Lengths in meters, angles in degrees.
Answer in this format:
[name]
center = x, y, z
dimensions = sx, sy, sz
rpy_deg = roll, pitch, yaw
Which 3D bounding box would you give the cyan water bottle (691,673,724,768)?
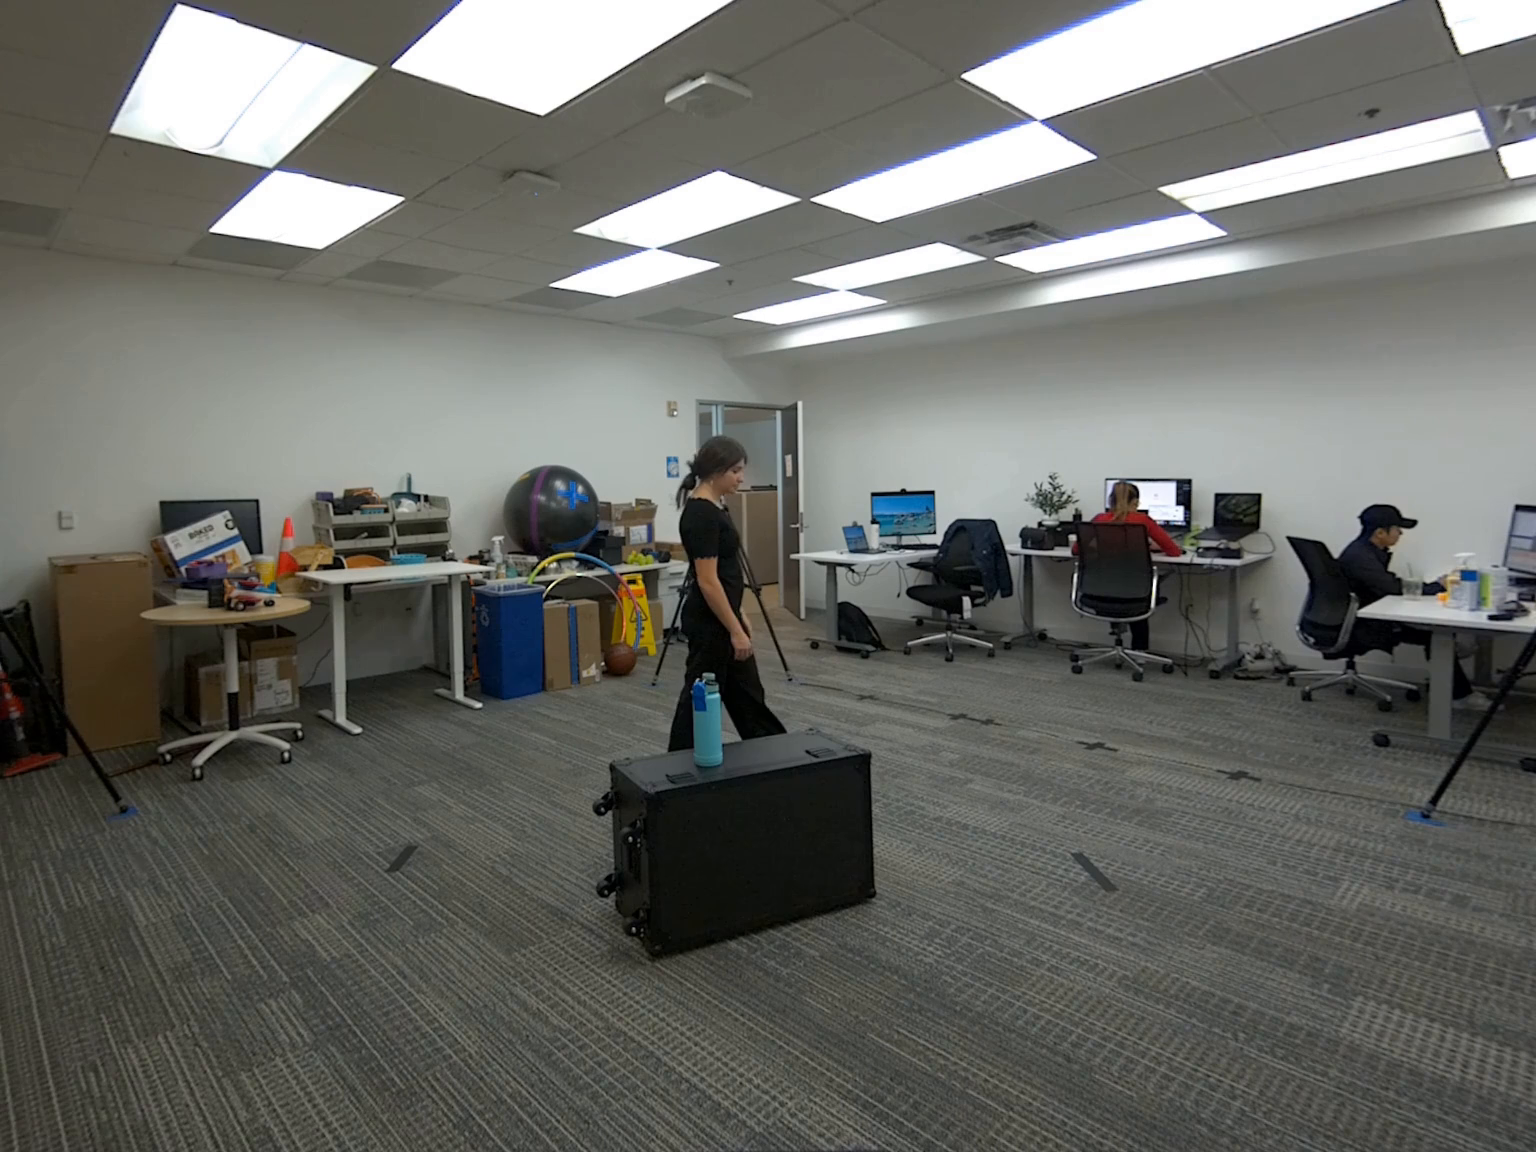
[cyan water bottle]
center = -0.198, 0.465, 2.748
dimensions = 0.092, 0.282, 0.093
rpy_deg = -2, 3, -2
